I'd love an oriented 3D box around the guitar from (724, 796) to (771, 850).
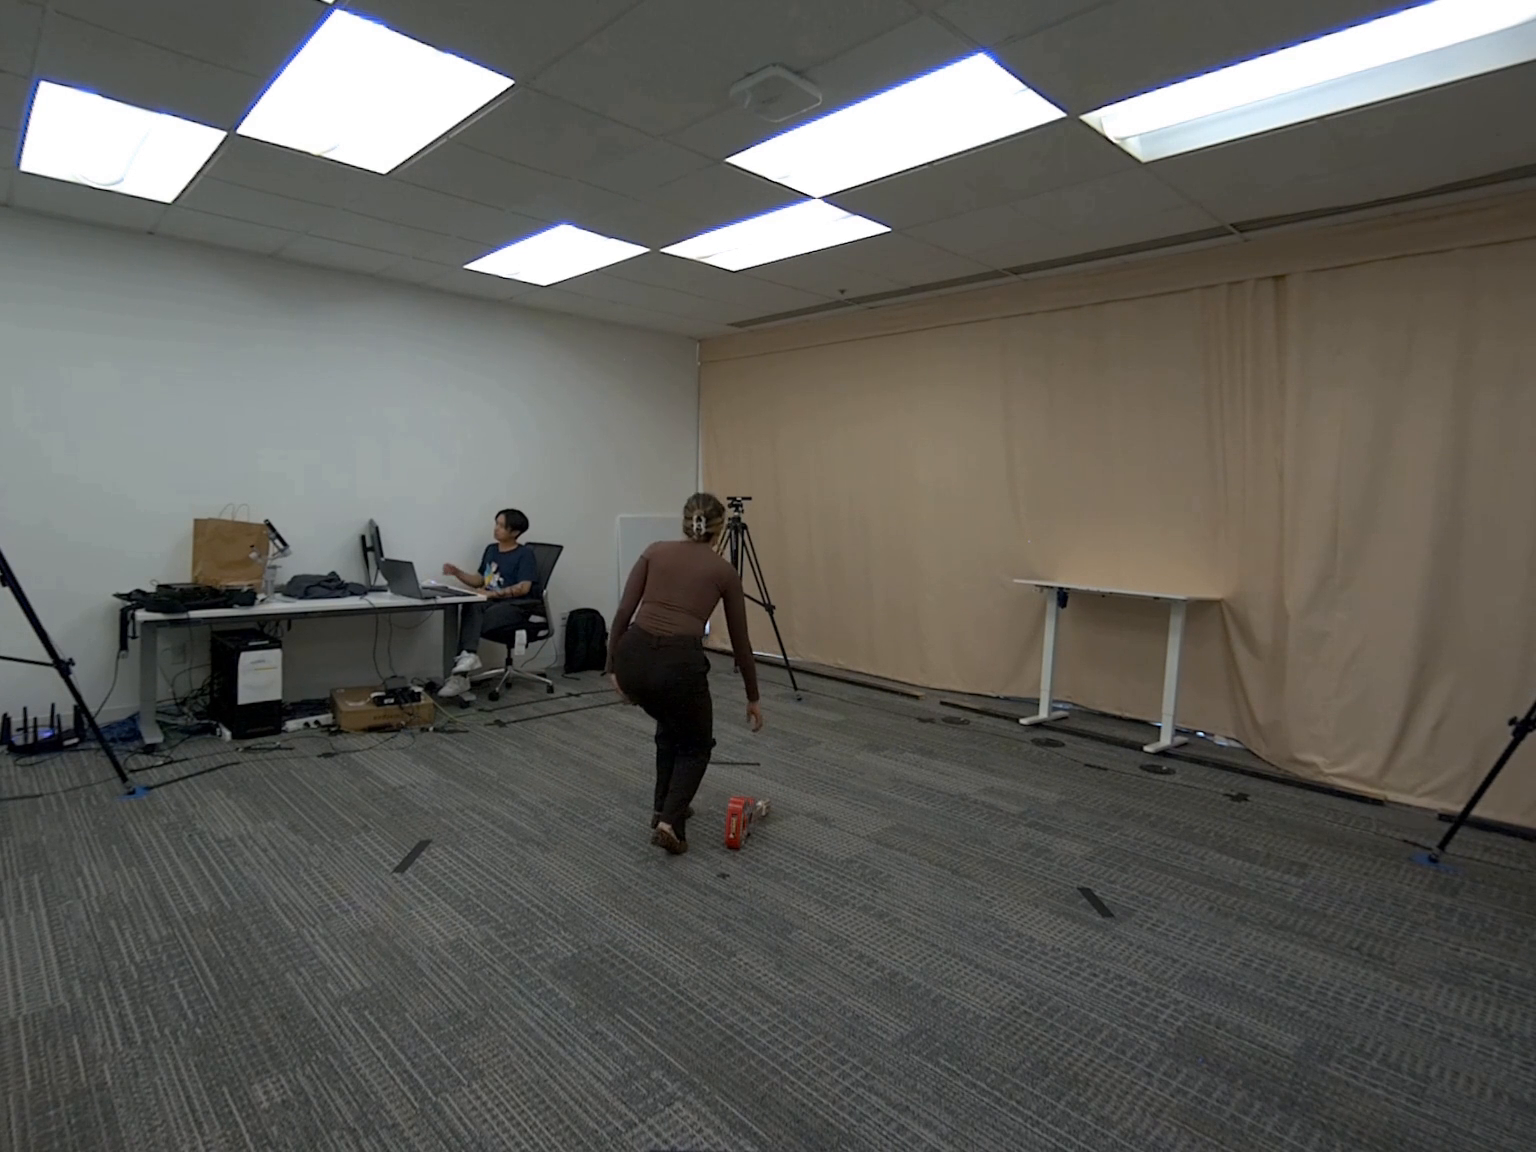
[{"bbox_3d":[-0.086,1.018,3.535,0.071,0.194,0.487,4,-13,15],"label":"guitar"}]
